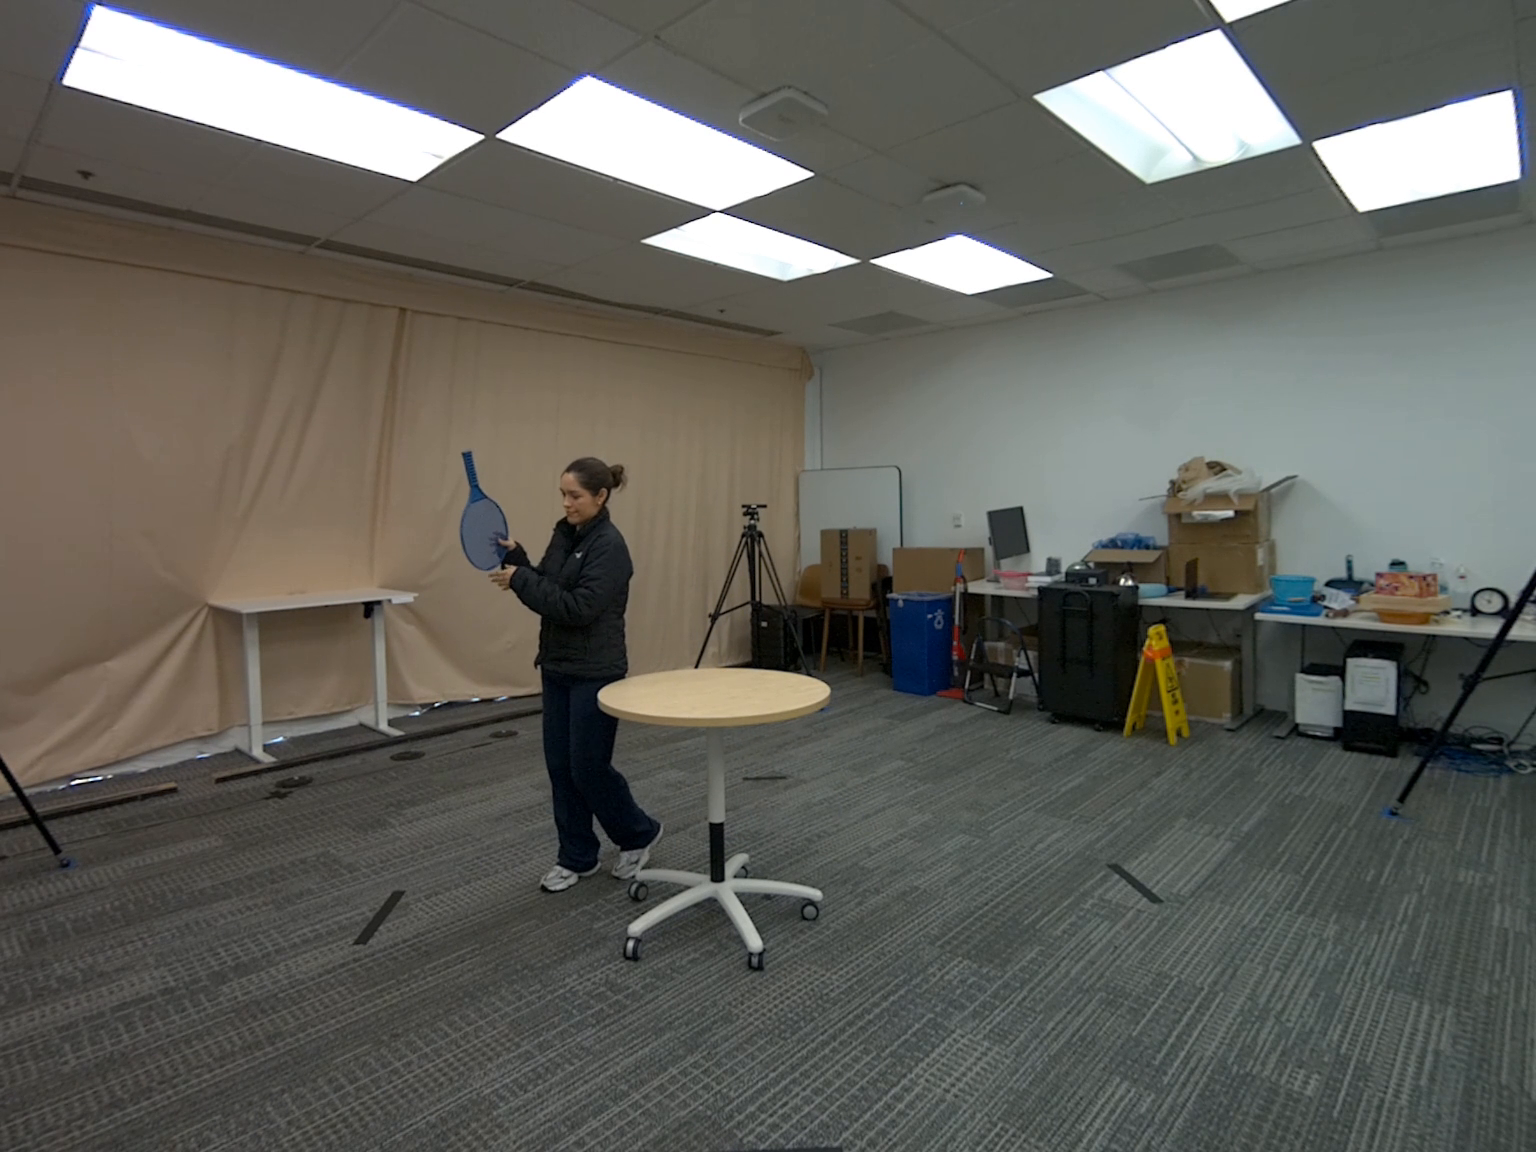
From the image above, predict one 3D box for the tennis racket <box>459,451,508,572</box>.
[{"bbox_3d":[-0.995,-0.228,2.954,0.032,0.426,0.211,0,22,27],"label":"tennis racket"}]
